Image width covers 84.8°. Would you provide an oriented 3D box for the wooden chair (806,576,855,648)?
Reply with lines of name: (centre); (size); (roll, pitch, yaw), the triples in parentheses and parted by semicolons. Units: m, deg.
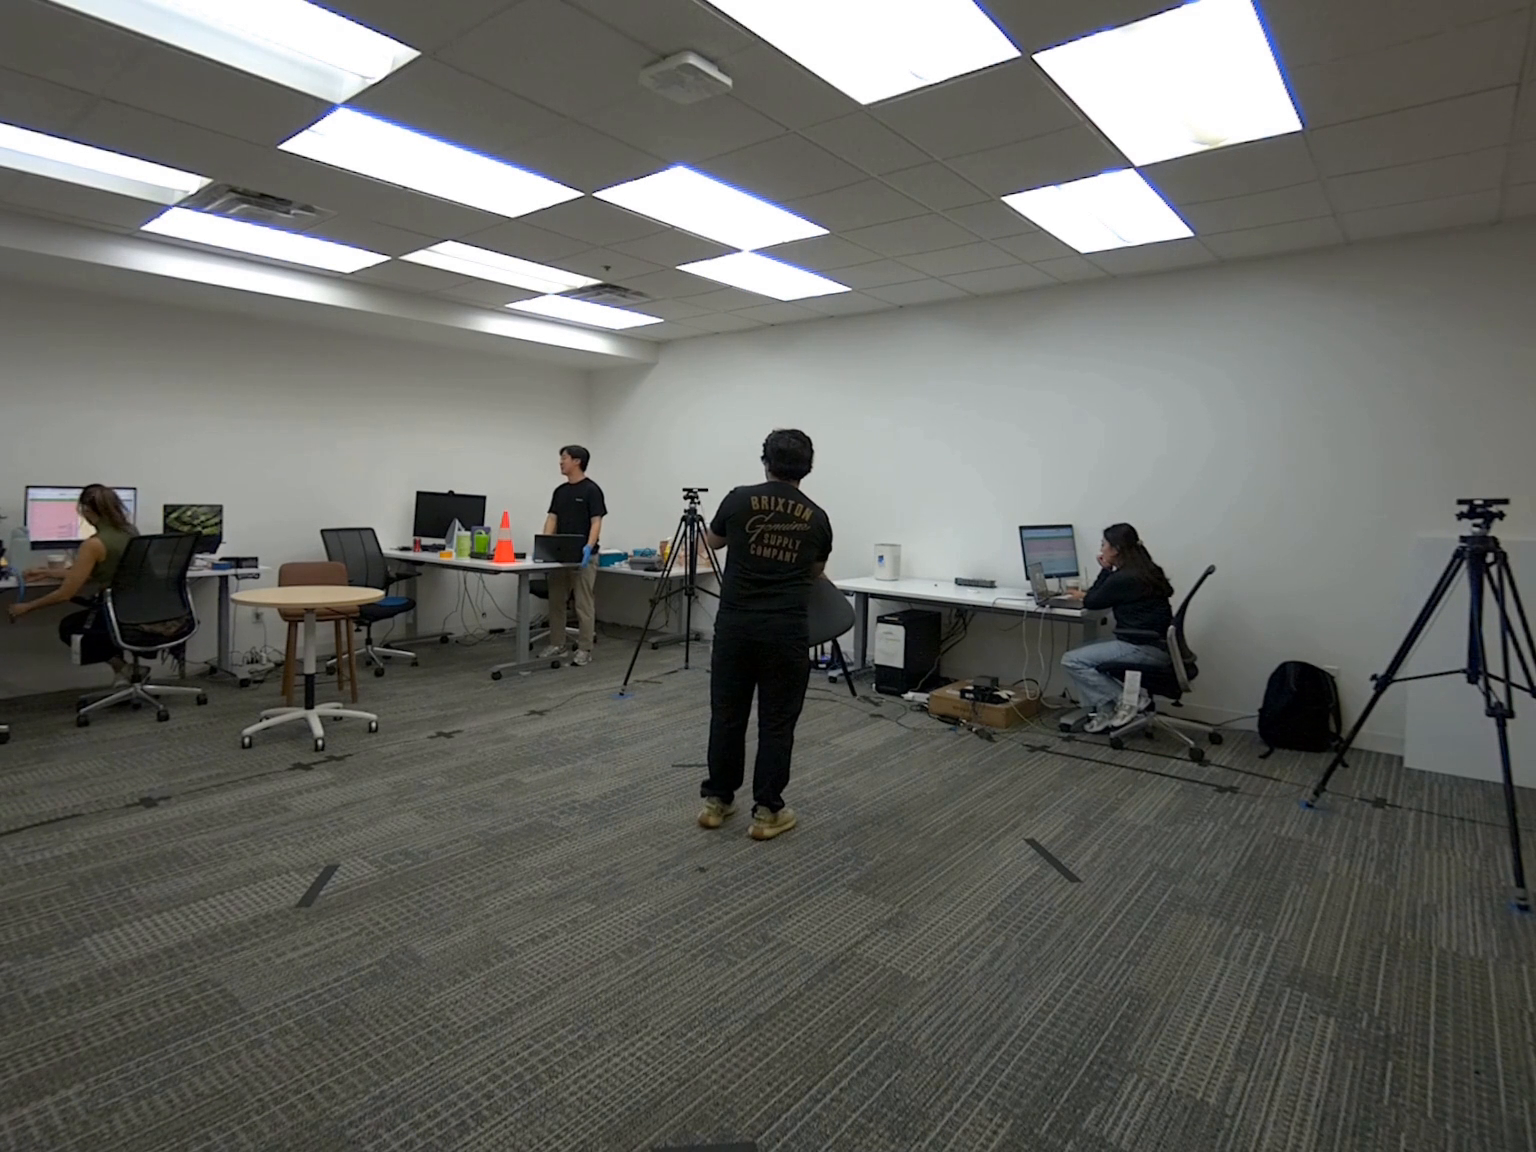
wooden chair: (0.094, 0.159, 3.801); (0.471, 0.854, 0.545); (-14, 33, -20)
